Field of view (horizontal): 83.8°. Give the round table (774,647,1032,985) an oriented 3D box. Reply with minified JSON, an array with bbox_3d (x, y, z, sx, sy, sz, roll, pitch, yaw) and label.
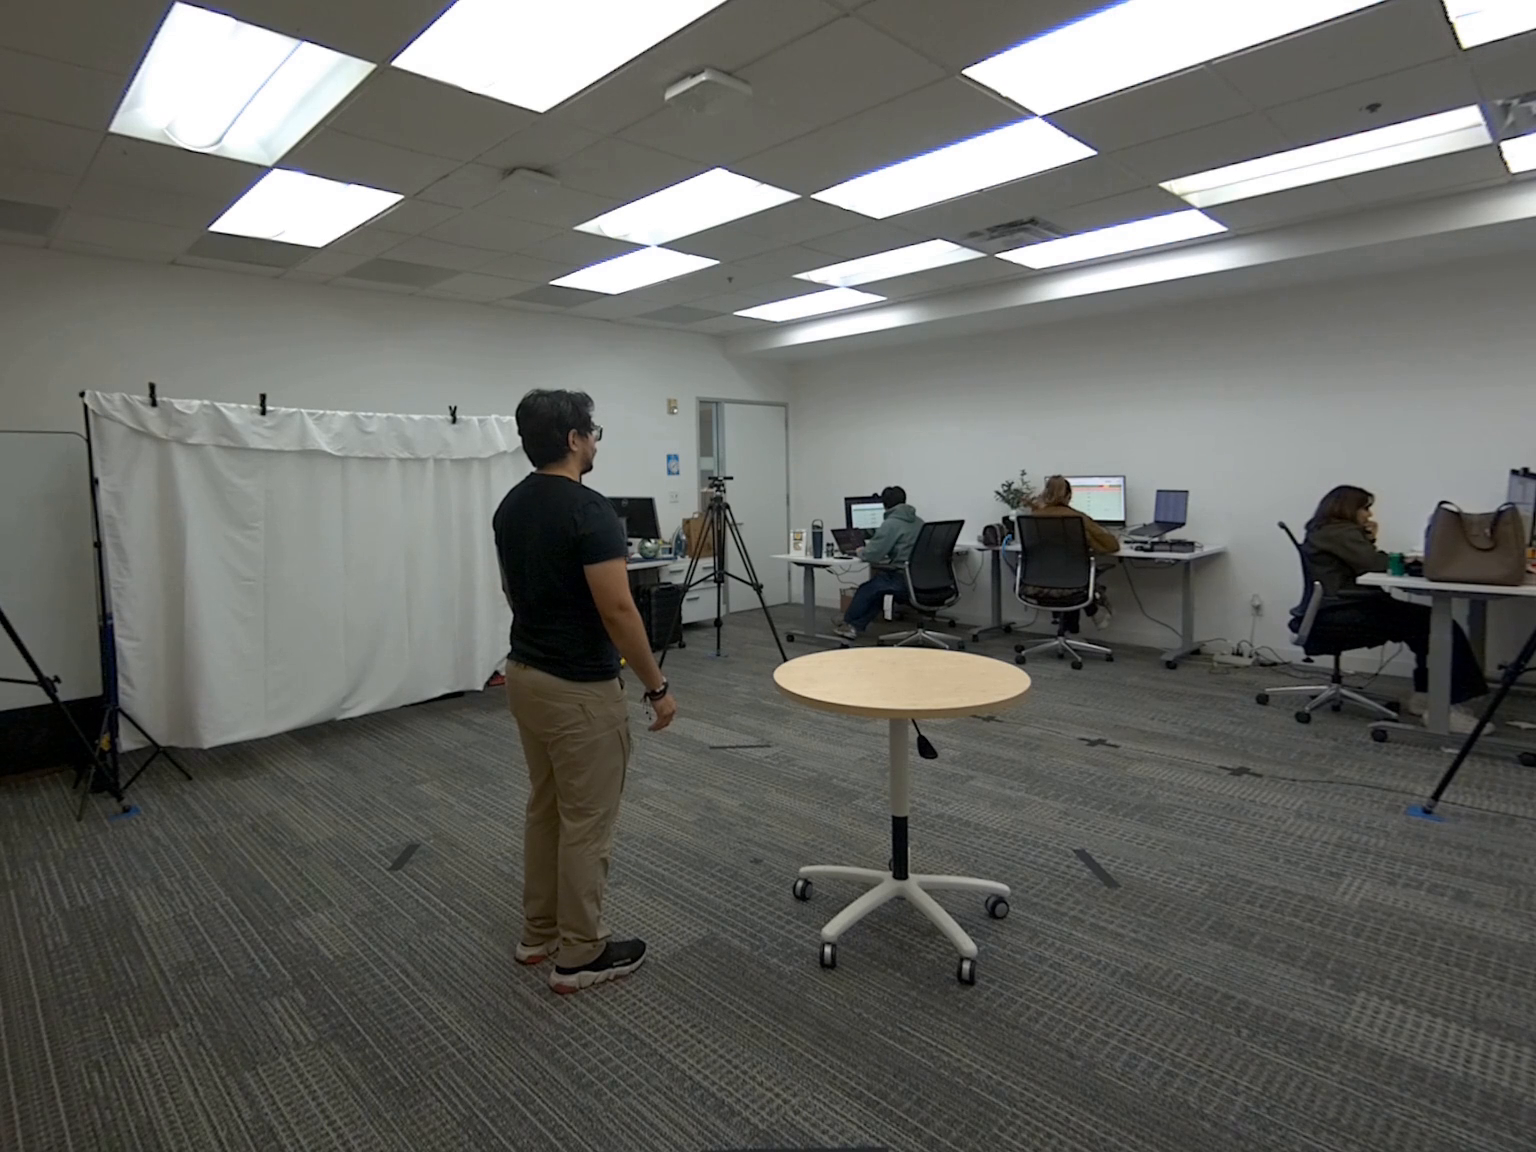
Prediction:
[{"bbox_3d":[0.414,0.687,2.658,0.784,0.783,0.790,-1,6,-2],"label":"round table"}]
